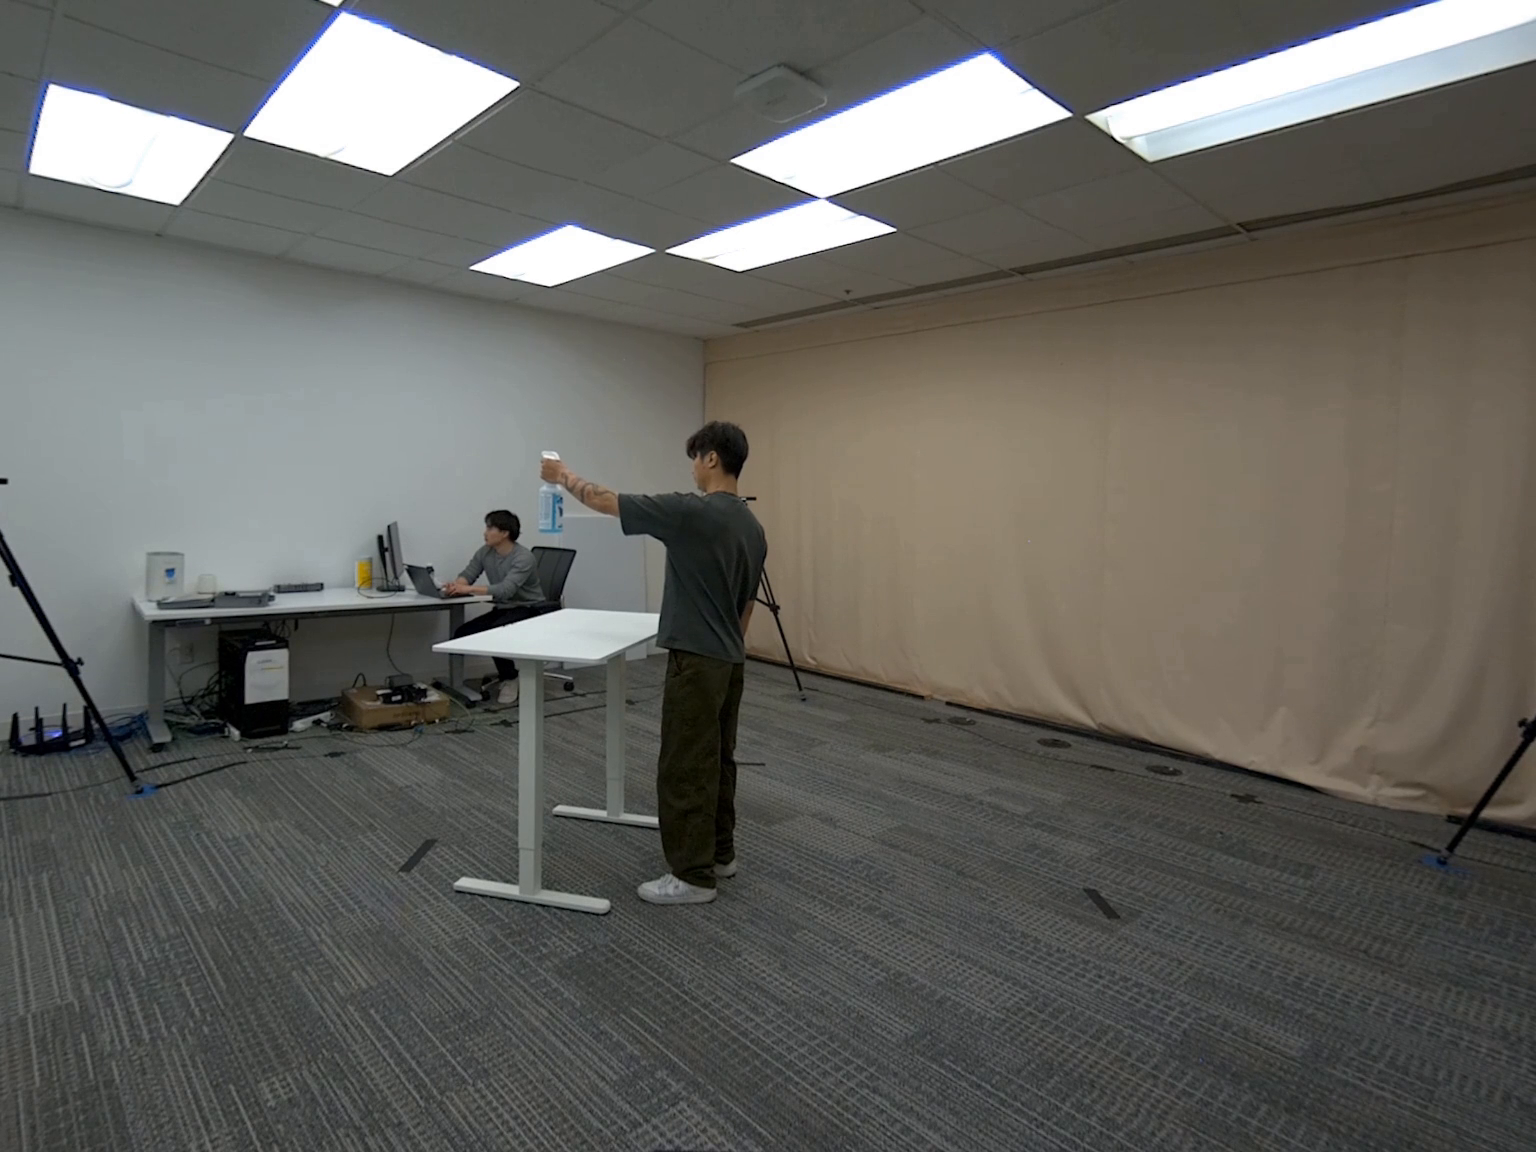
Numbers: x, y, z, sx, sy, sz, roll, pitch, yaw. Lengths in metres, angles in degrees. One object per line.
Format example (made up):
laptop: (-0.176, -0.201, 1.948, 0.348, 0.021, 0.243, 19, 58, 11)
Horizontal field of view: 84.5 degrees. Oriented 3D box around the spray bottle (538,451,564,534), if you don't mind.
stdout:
spray bottle: (-0.798, -0.306, 3.095, 0.085, 0.296, 0.092, 1, 5, -28)
